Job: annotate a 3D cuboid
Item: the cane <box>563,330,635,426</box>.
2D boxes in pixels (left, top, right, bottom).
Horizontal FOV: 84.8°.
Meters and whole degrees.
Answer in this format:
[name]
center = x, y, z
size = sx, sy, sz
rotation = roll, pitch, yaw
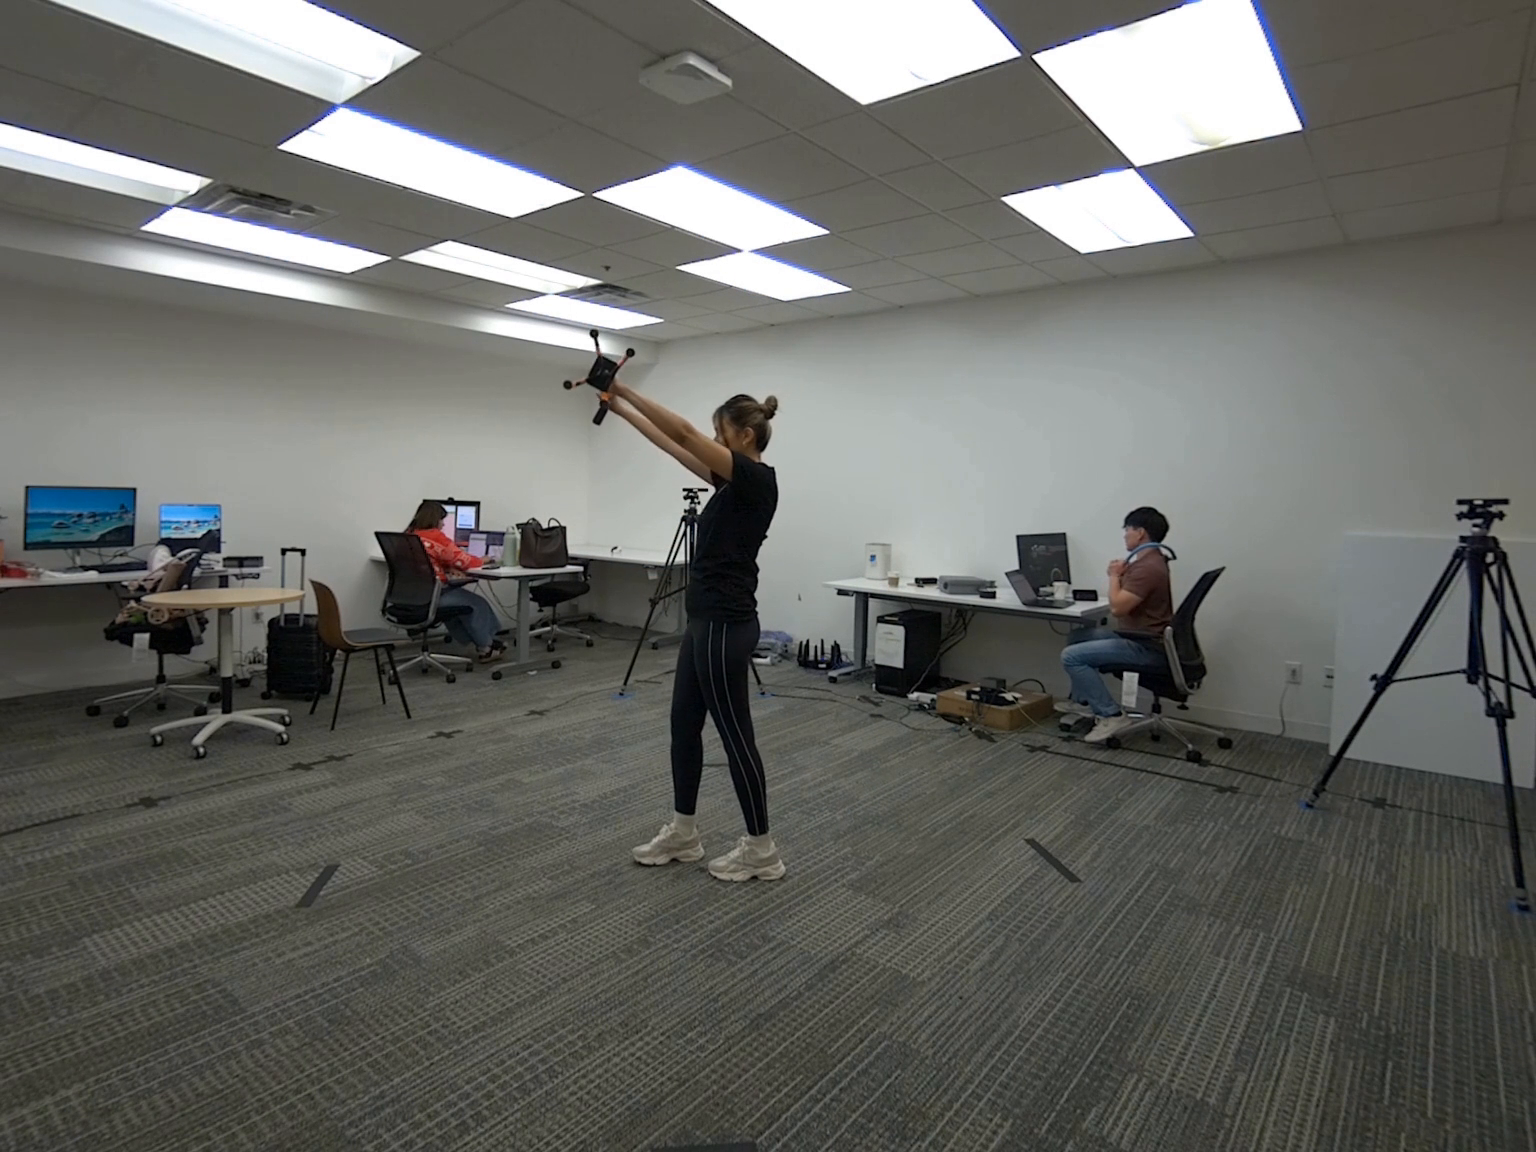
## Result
[cane]
center = -0.605, -0.677, 3.048
size = 0.150, 0.206, 0.919
rotation = 25, 0, -11
